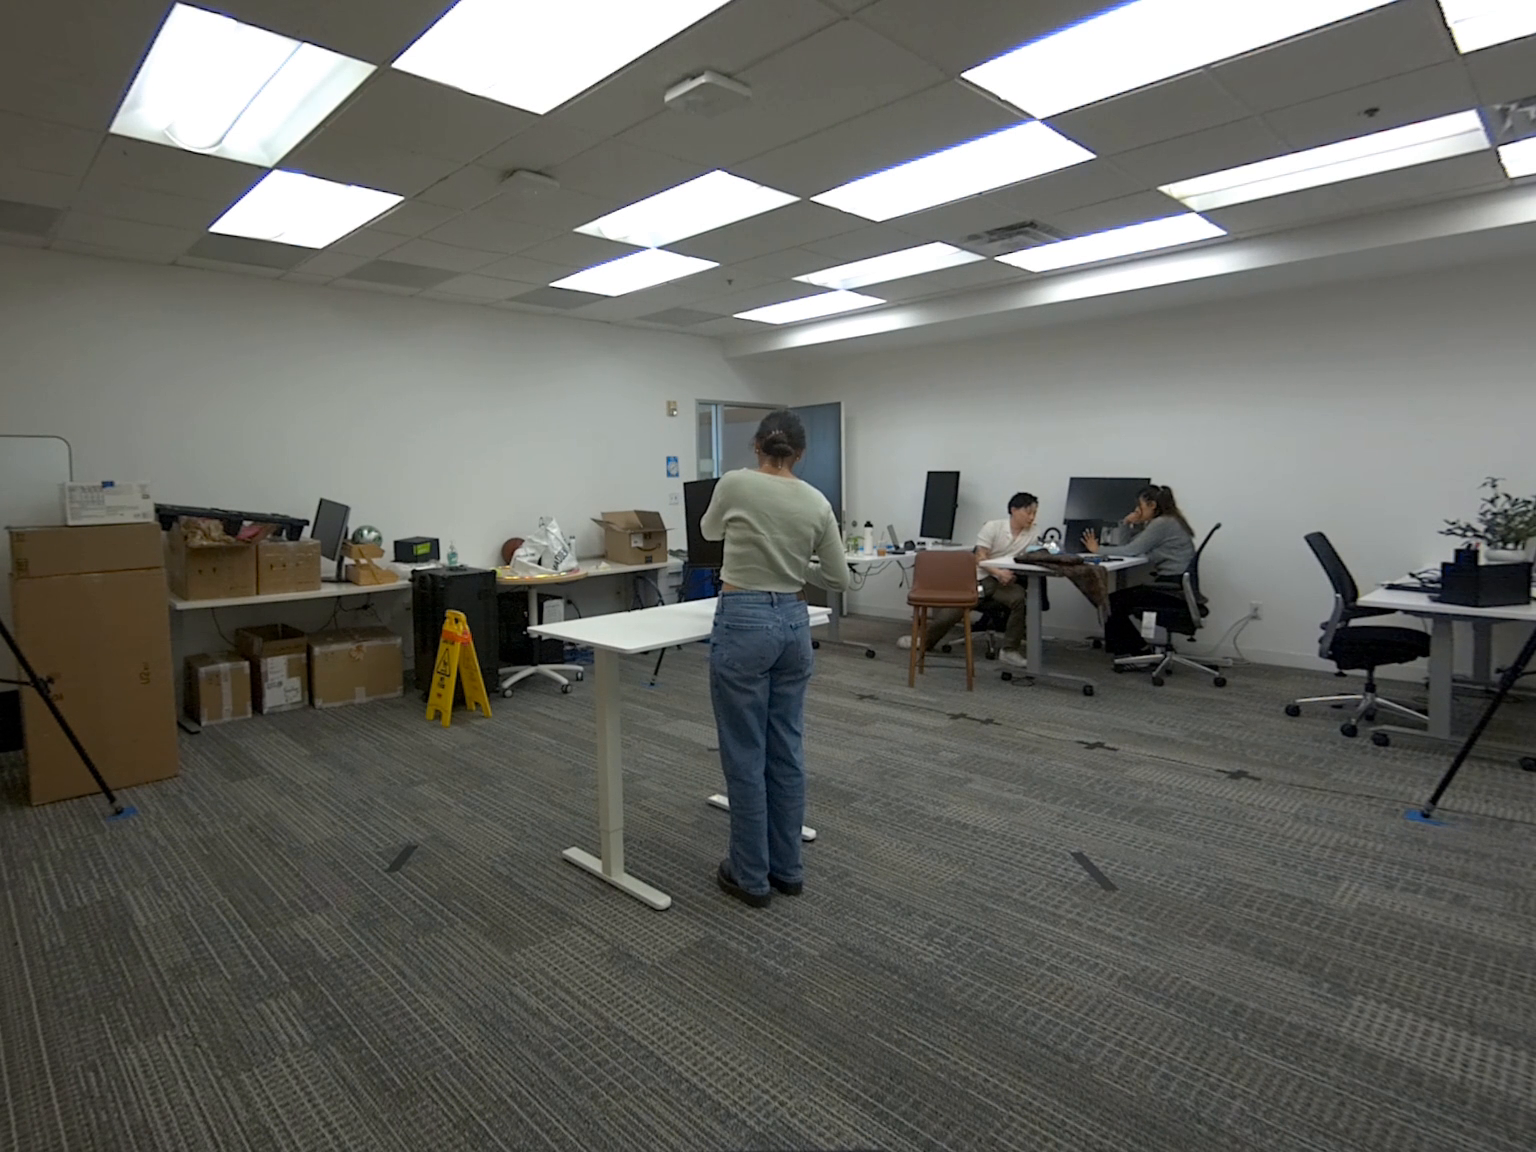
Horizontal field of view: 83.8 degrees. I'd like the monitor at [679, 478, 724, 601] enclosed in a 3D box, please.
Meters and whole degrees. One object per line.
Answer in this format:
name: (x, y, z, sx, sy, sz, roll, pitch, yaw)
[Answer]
monitor: (-0.092, -0.134, 3.324, 0.184, 0.517, 0.554, -23, 14, -41)
